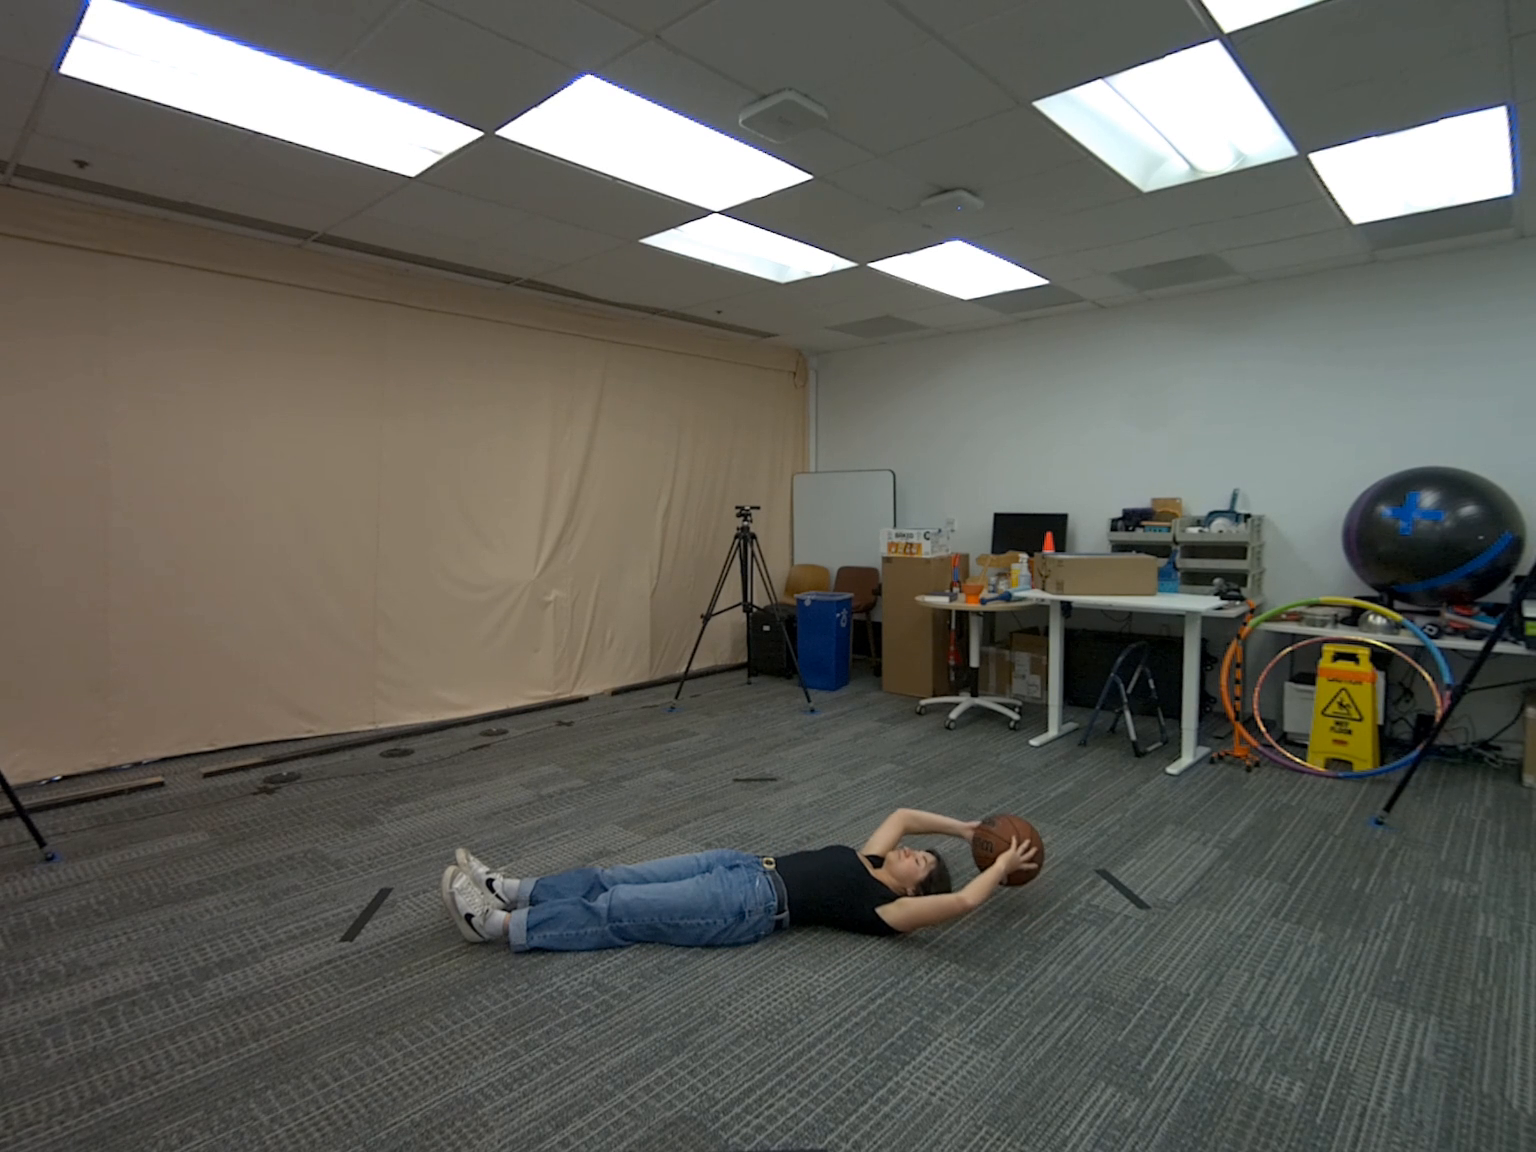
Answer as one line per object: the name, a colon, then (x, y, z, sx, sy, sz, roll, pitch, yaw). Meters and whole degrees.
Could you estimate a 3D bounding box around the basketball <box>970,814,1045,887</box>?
basketball: (0.819, 0.922, 2.901, 0.236, 0.235, 0.237, 0, 4, -2)
